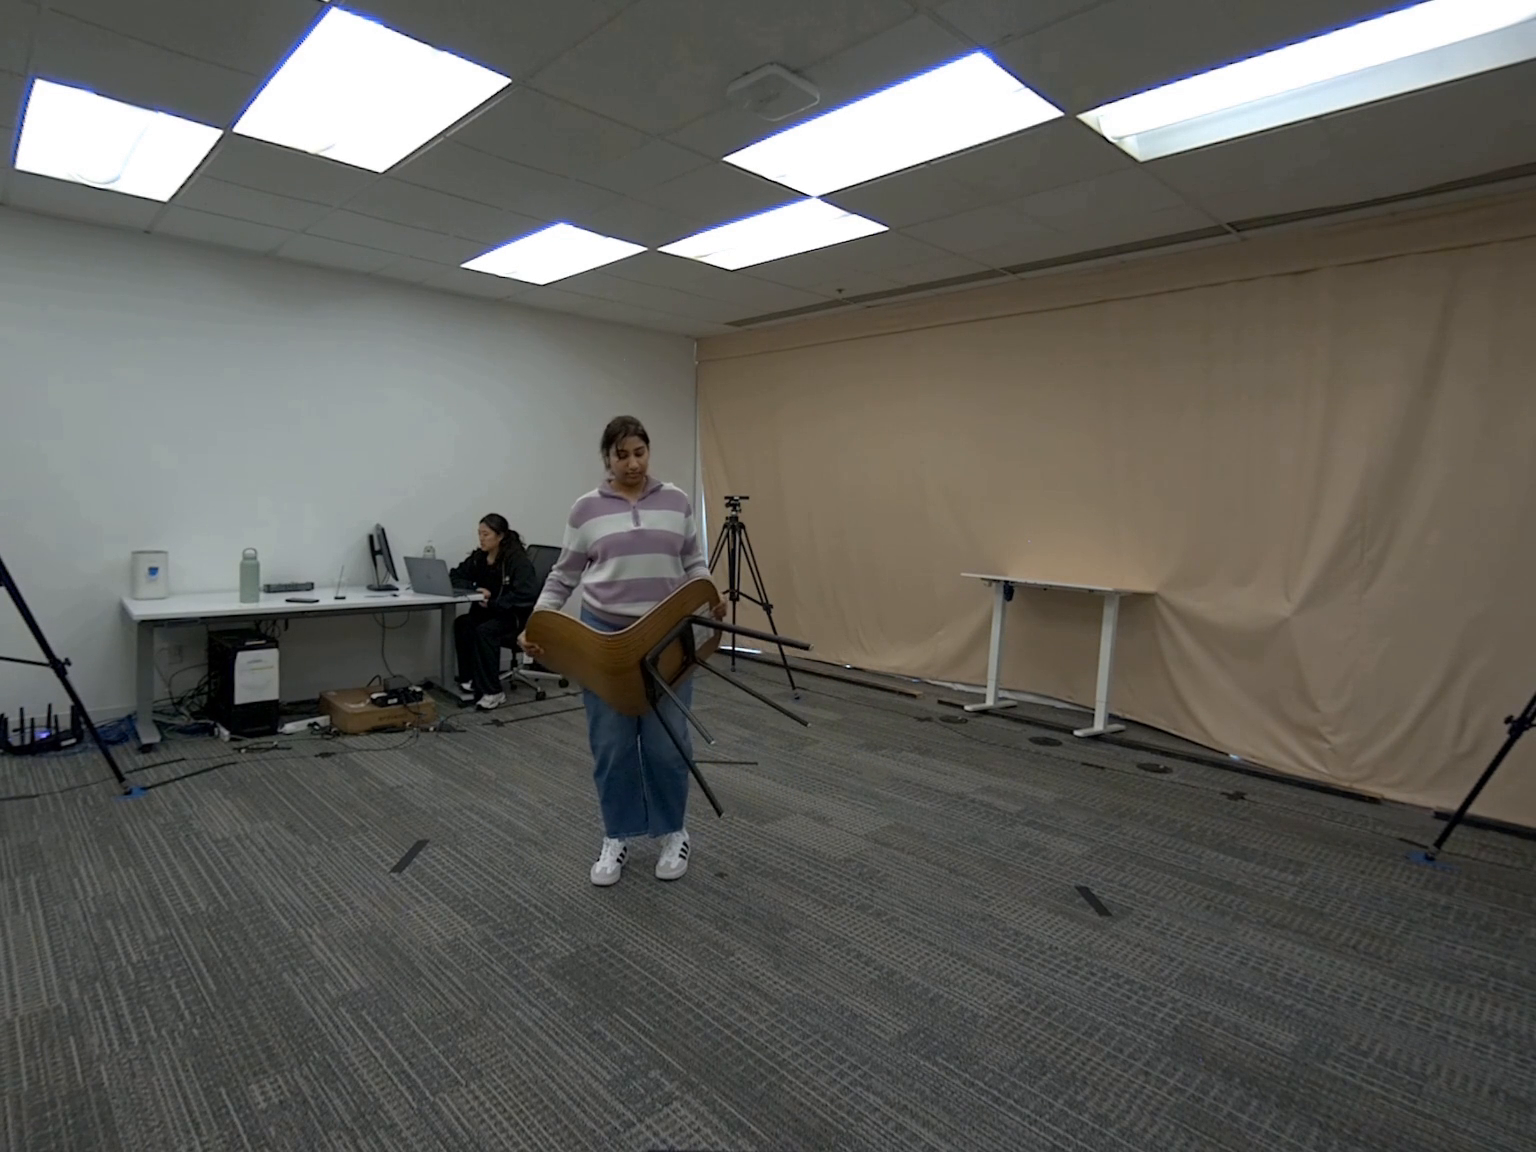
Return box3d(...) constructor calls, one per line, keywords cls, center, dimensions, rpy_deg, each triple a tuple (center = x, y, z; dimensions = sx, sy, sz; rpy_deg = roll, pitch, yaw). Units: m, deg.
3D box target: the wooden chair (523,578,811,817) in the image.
box3d(cls="wooden chair", center=(-0.334, 0.286, 2.835), dimensions=(0.900, 0.467, 0.522), rpy_deg=(28, 54, 26))
